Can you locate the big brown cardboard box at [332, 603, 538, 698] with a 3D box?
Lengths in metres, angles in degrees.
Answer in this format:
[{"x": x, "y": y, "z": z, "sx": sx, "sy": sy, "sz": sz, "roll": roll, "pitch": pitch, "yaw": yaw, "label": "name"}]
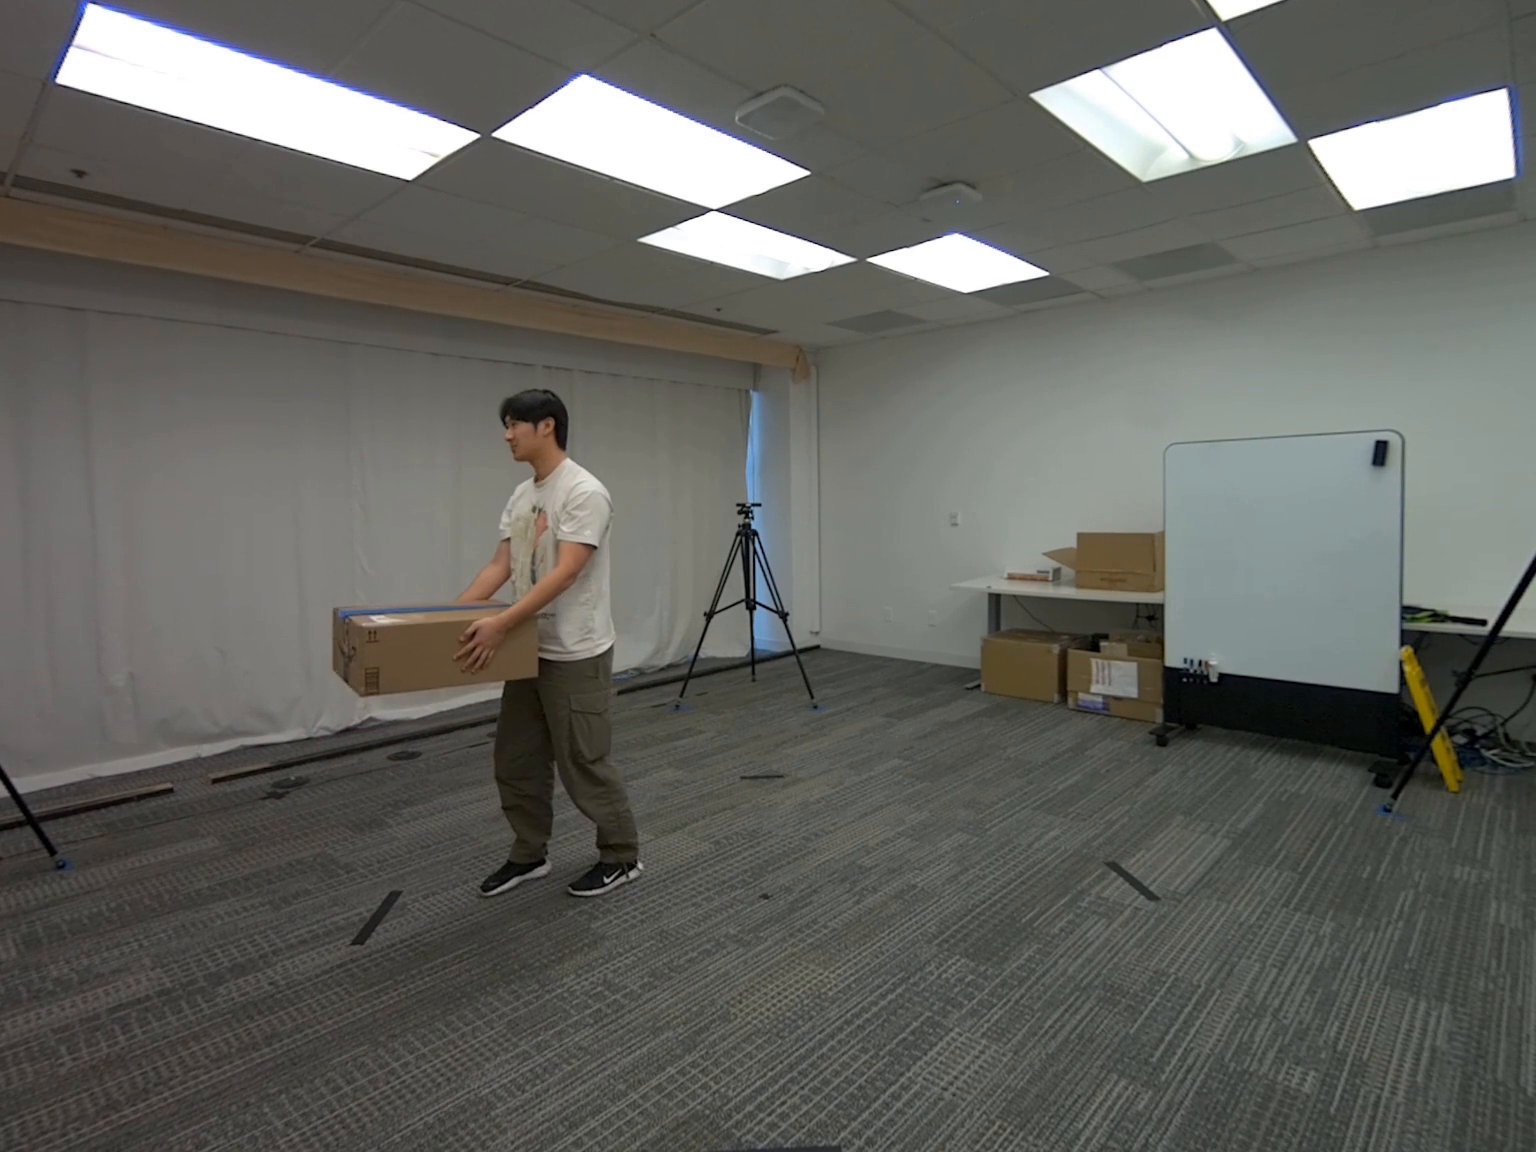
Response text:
[{"x": -1.110, "y": 0.226, "z": 2.805, "sx": 0.571, "sy": 0.232, "sz": 0.431, "roll": -1, "pitch": 6, "yaw": -38, "label": "big brown cardboard box"}]
